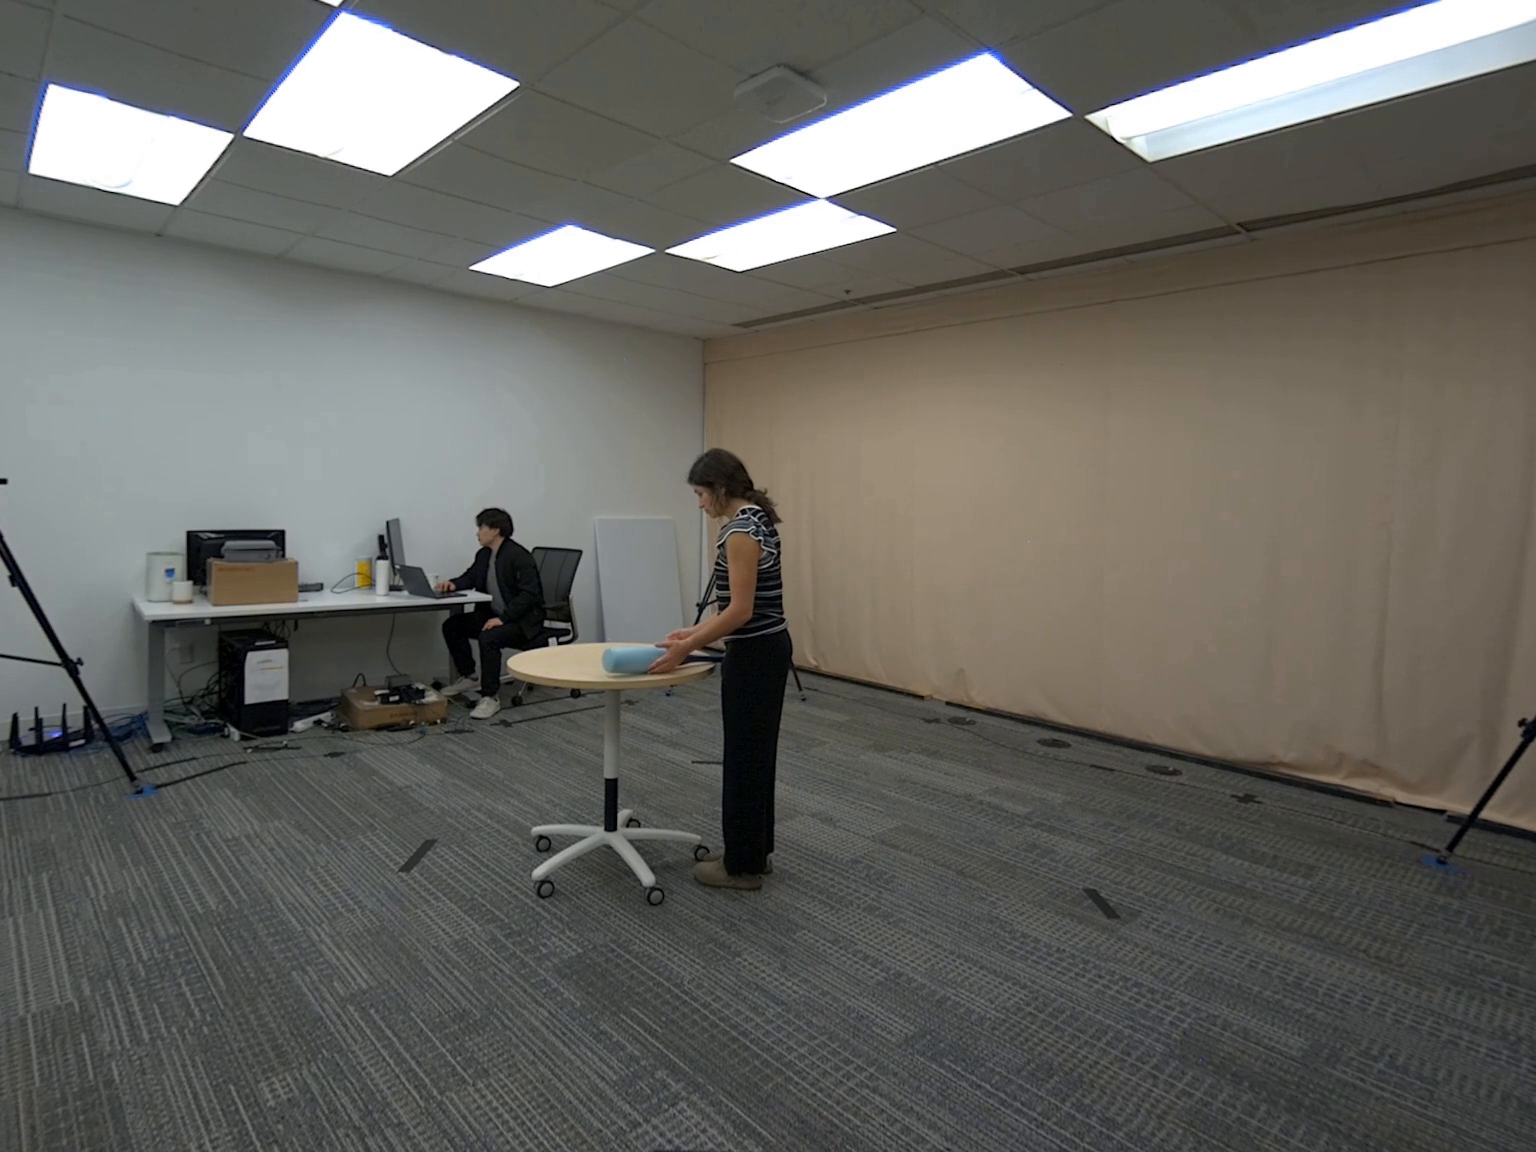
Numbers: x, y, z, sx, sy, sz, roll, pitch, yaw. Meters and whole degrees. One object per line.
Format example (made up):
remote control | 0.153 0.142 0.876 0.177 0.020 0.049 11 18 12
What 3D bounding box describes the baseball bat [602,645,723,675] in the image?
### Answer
baseball bat | -0.342 0.293 2.967 0.529 0.089 0.091 4 1 -40
